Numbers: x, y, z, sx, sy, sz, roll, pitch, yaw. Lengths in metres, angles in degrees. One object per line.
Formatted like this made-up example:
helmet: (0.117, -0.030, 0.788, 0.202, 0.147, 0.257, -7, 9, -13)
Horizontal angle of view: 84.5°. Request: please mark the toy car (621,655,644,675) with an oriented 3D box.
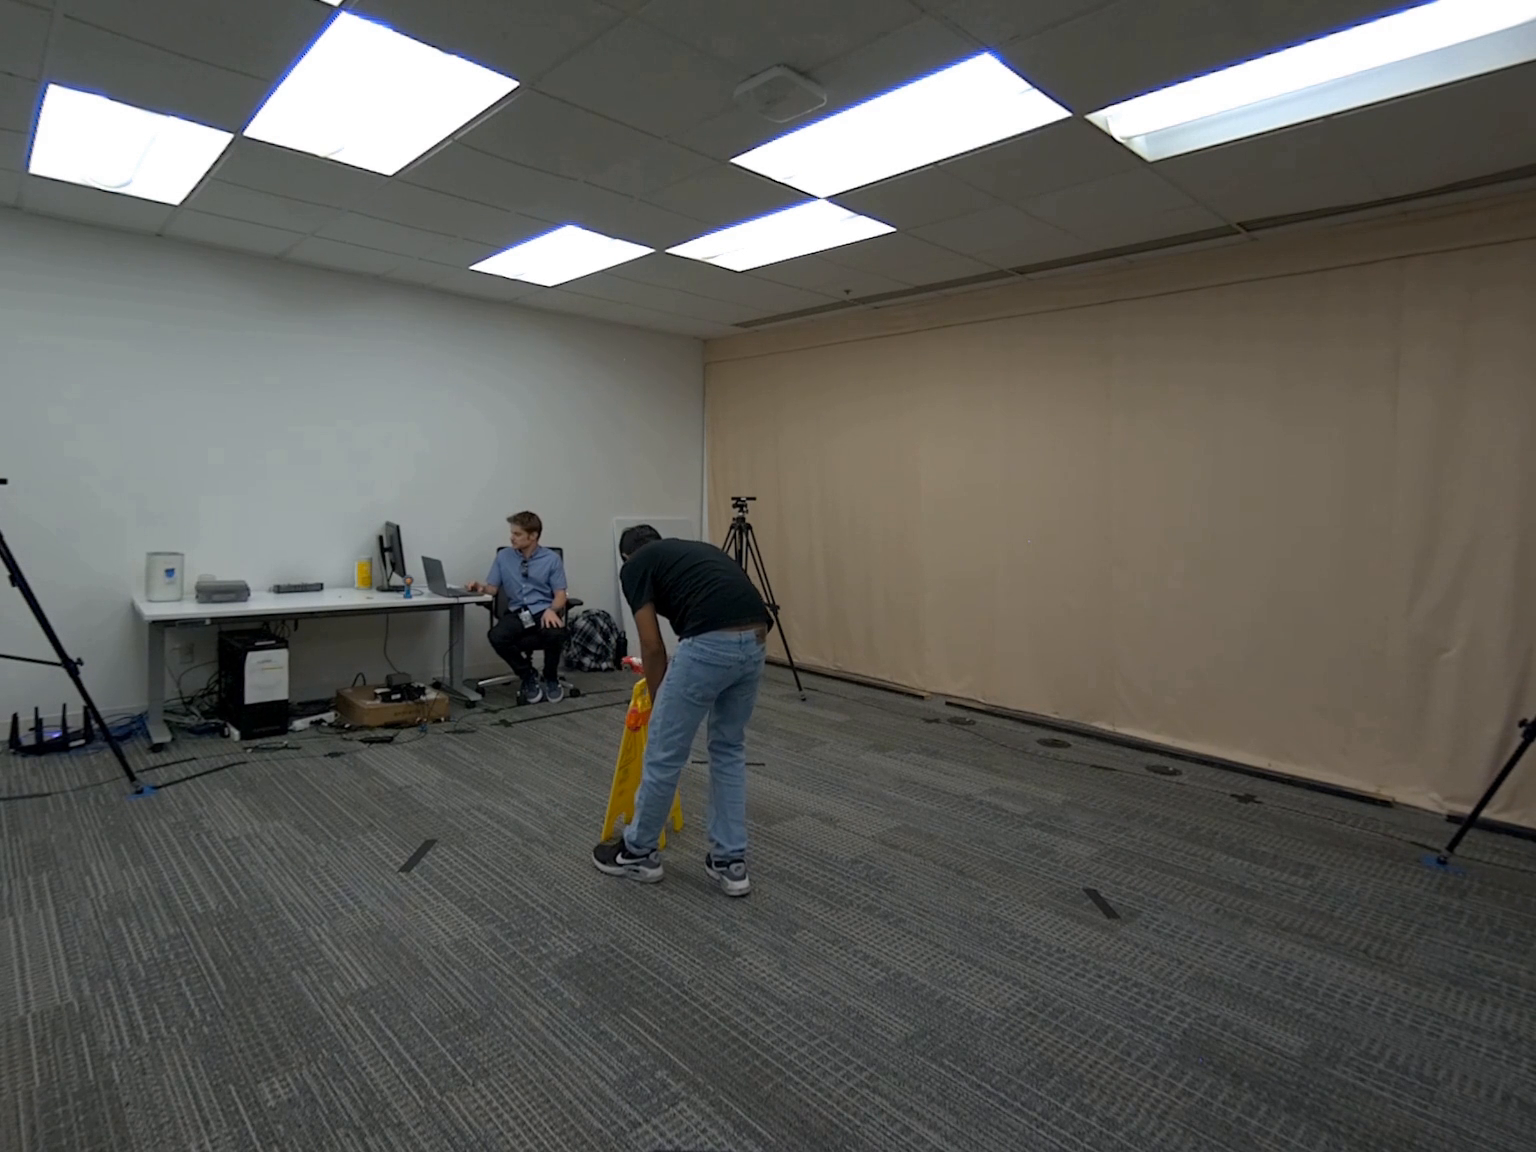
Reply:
toy car: (-0.475, 0.398, 3.467, 0.255, 0.083, 0.130, 7, 7, 4)
